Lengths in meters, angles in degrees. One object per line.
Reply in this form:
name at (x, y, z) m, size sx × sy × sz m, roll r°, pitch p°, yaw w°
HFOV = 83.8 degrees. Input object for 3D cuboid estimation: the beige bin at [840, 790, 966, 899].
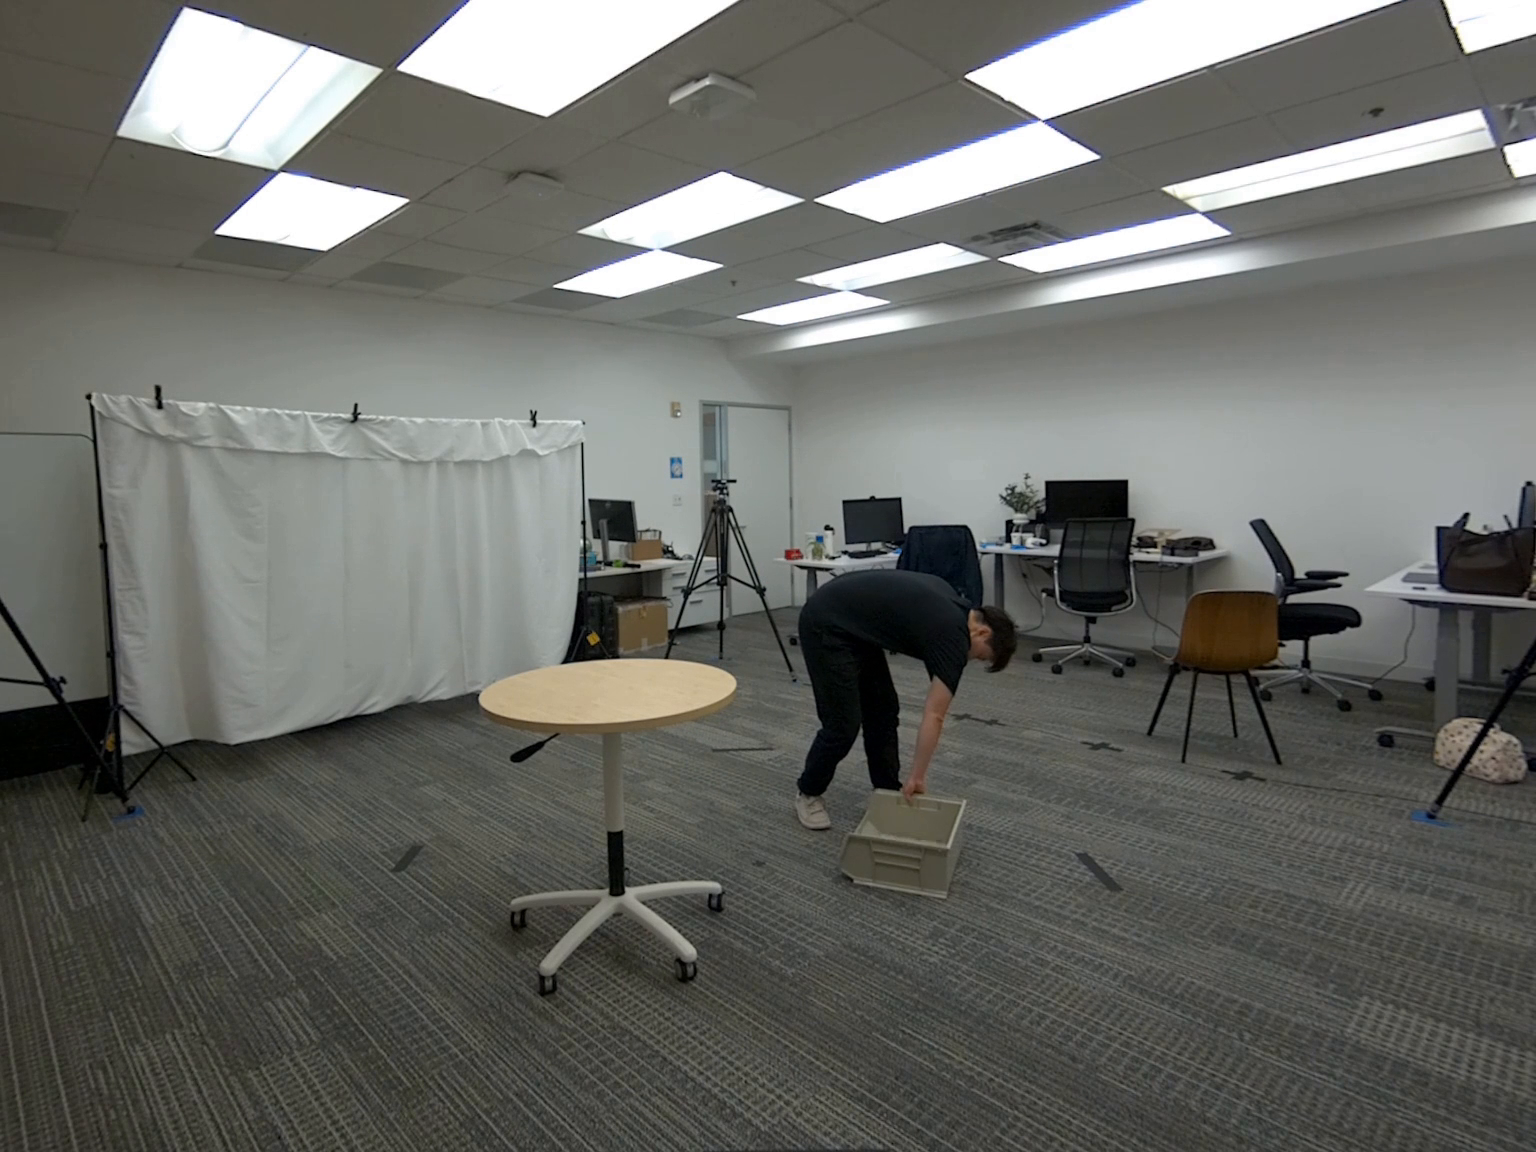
beige bin at (0.497, 0.948, 3.066) m, size 0.385 × 0.188 × 0.416 m, roll 2°, pitch 8°, yaw 21°
